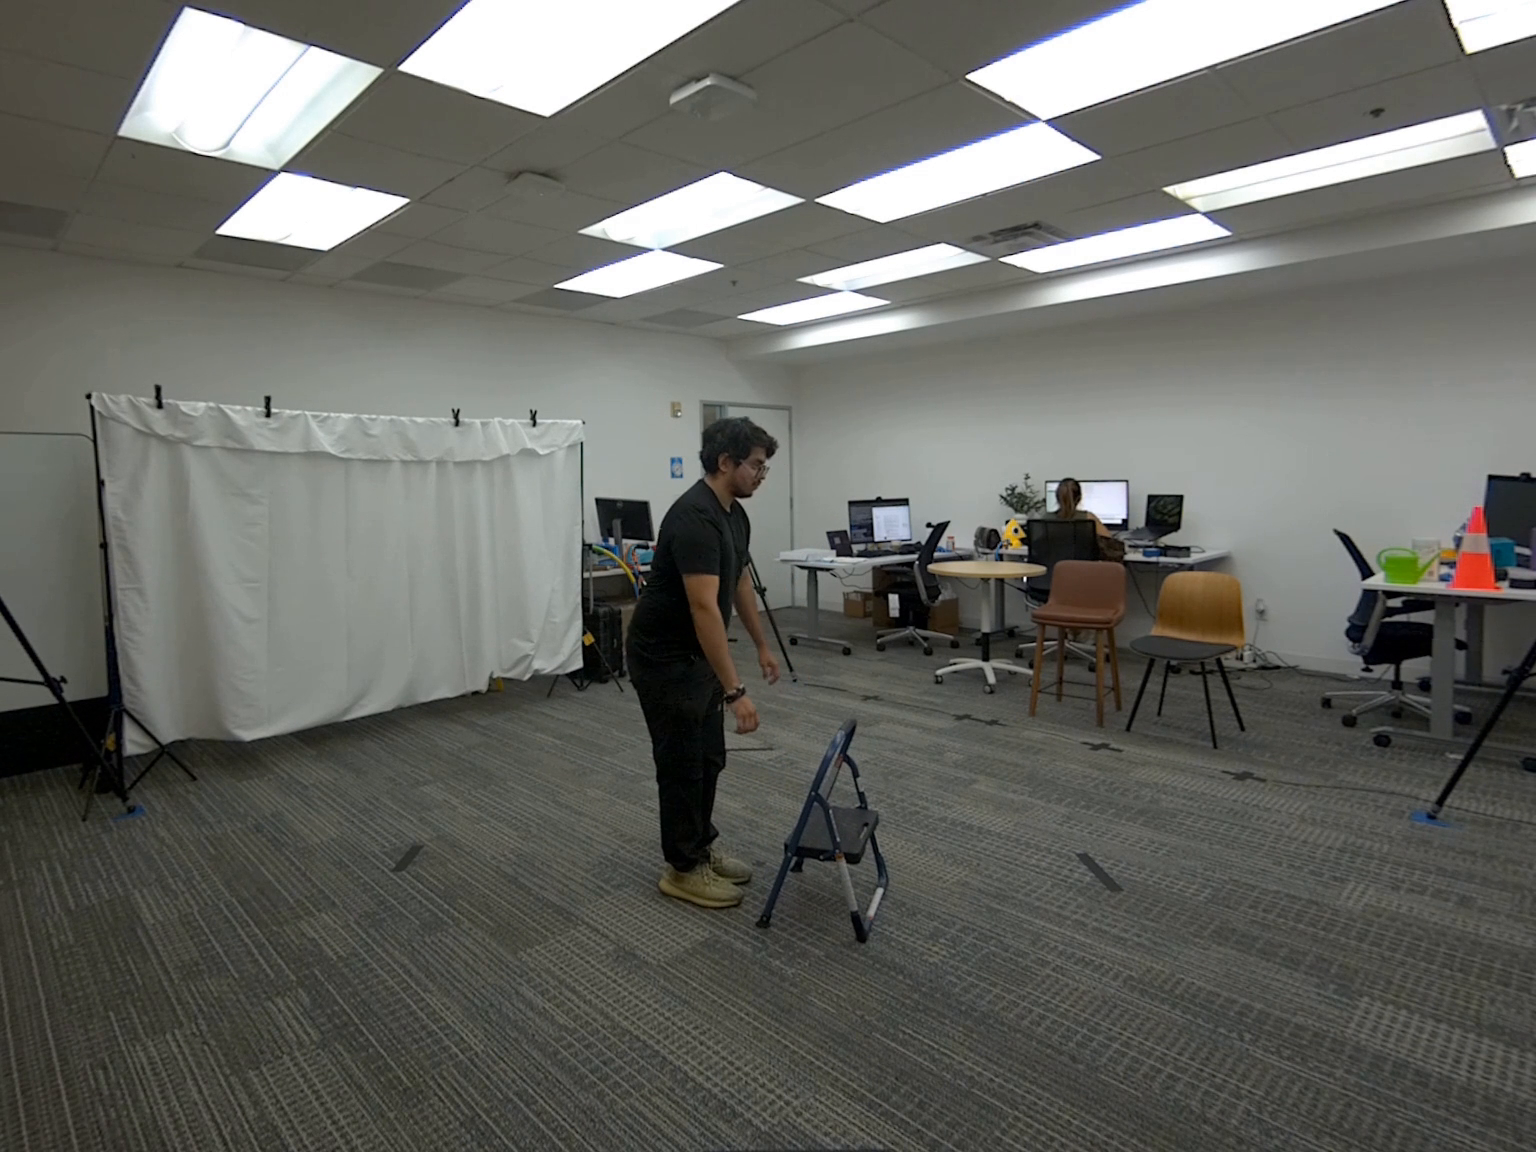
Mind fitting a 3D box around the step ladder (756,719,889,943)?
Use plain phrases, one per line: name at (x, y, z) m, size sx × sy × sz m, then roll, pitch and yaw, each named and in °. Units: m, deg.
step ladder at (0.189, 0.774, 2.788) m, size 0.356 × 0.604 × 0.424 m, roll 0°, pitch 5°, yaw 19°
